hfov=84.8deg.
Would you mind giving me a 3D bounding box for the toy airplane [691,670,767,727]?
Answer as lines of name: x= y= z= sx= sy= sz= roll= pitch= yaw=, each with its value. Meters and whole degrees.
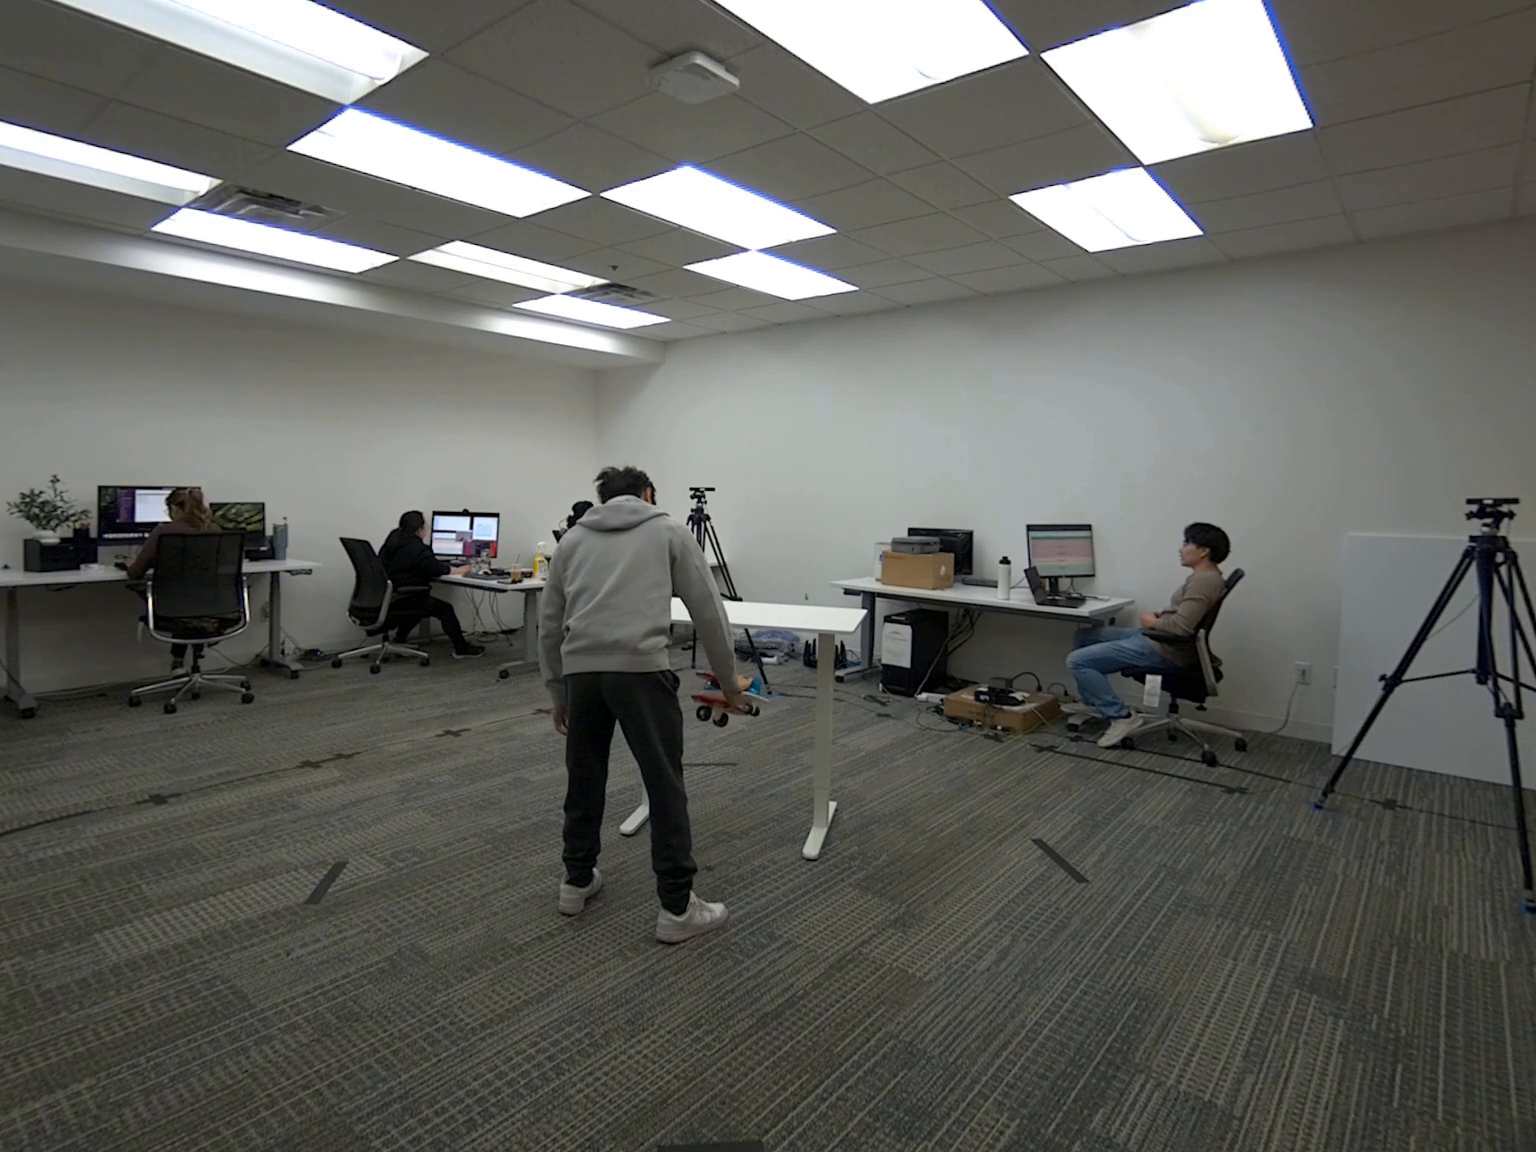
toy airplane: x=-0.135 y=0.418 z=2.907 sx=0.262 sy=0.160 sz=0.243 roll=-6 pitch=-26 yaw=10
